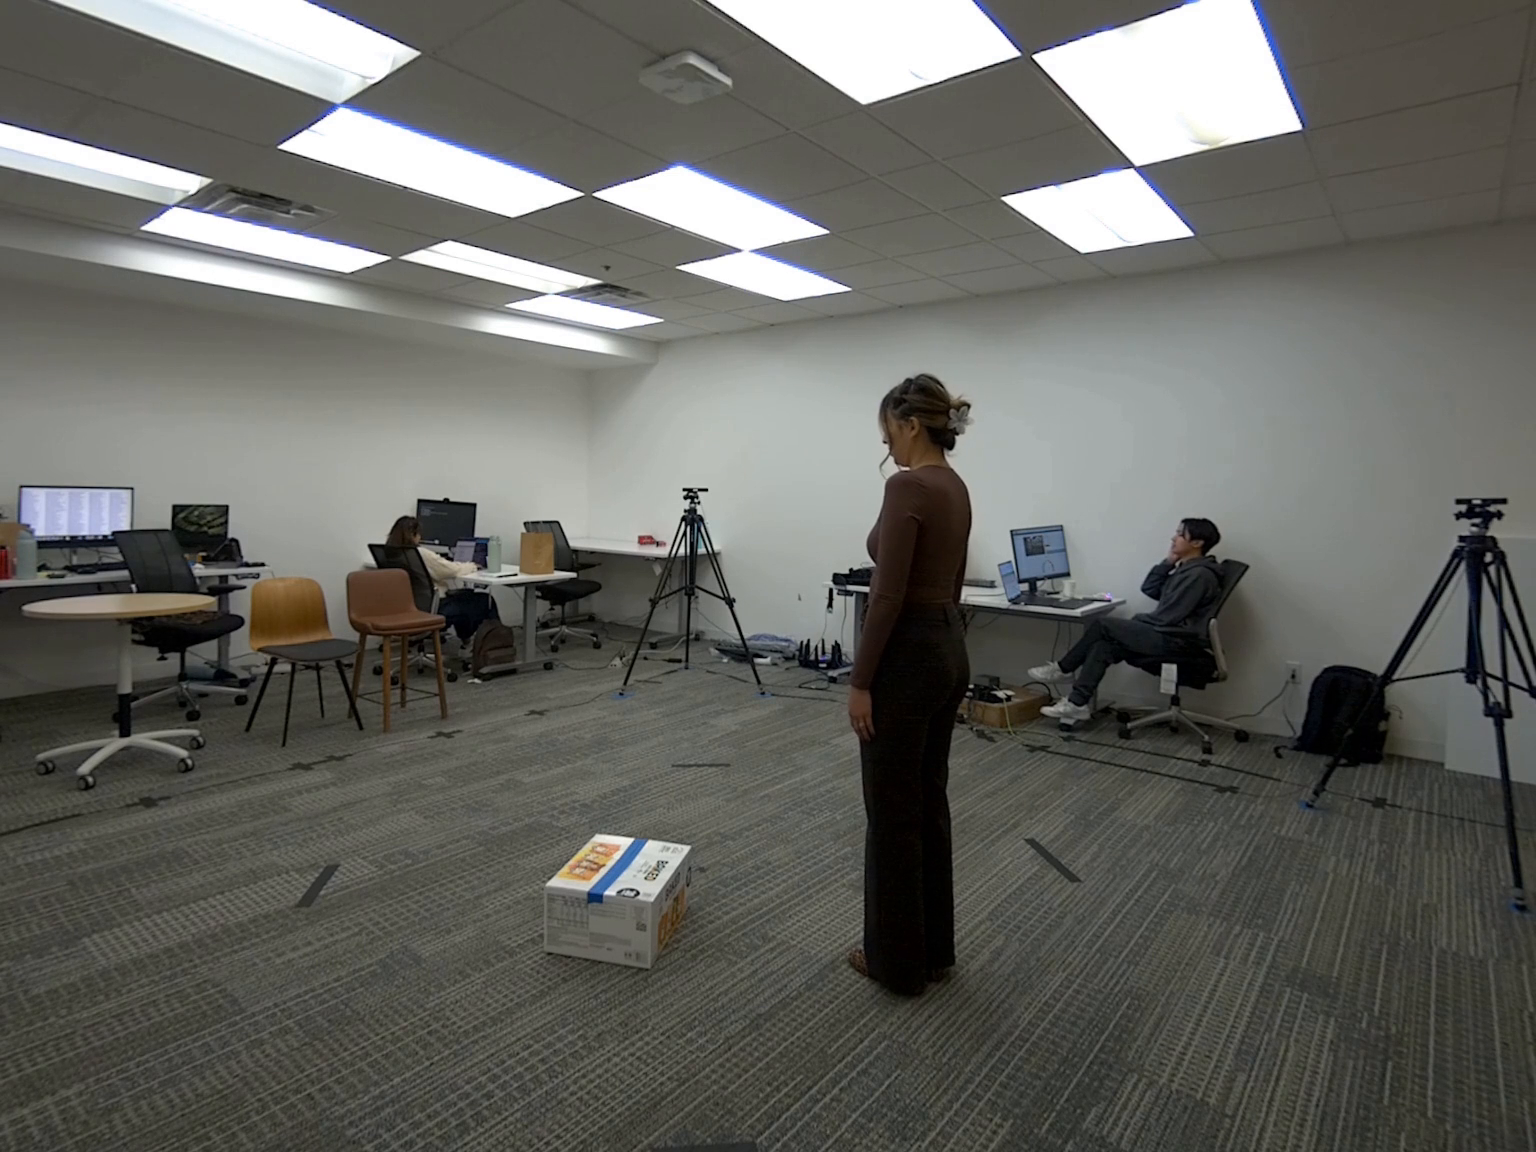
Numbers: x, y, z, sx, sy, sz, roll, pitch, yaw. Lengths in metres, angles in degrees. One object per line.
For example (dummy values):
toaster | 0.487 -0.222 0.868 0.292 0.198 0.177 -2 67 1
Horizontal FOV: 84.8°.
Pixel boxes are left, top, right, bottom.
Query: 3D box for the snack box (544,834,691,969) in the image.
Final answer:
snack box | -0.468 1.005 2.671 0.345 0.205 0.401 2 5 13
